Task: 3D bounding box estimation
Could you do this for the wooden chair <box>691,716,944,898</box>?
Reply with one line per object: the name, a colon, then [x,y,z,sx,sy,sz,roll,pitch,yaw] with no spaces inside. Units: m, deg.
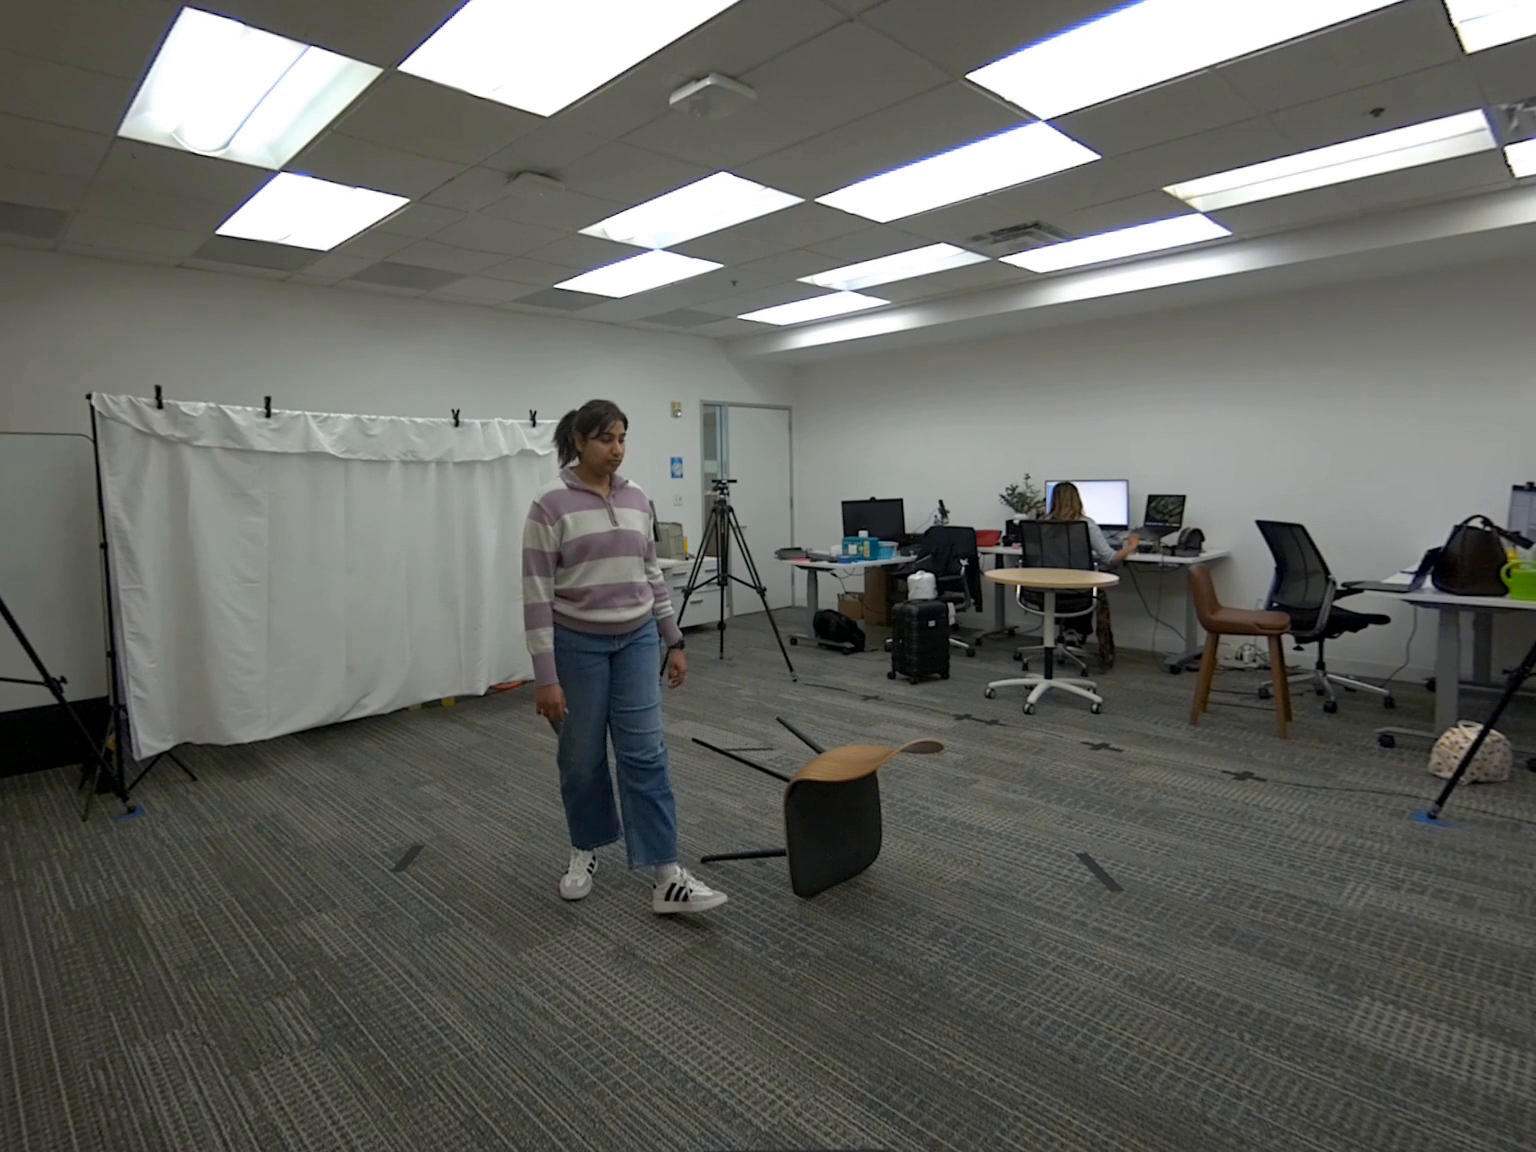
wooden chair: [0.197,0.807,2.953,0.465,0.524,0.899,-5,-2,-43]
